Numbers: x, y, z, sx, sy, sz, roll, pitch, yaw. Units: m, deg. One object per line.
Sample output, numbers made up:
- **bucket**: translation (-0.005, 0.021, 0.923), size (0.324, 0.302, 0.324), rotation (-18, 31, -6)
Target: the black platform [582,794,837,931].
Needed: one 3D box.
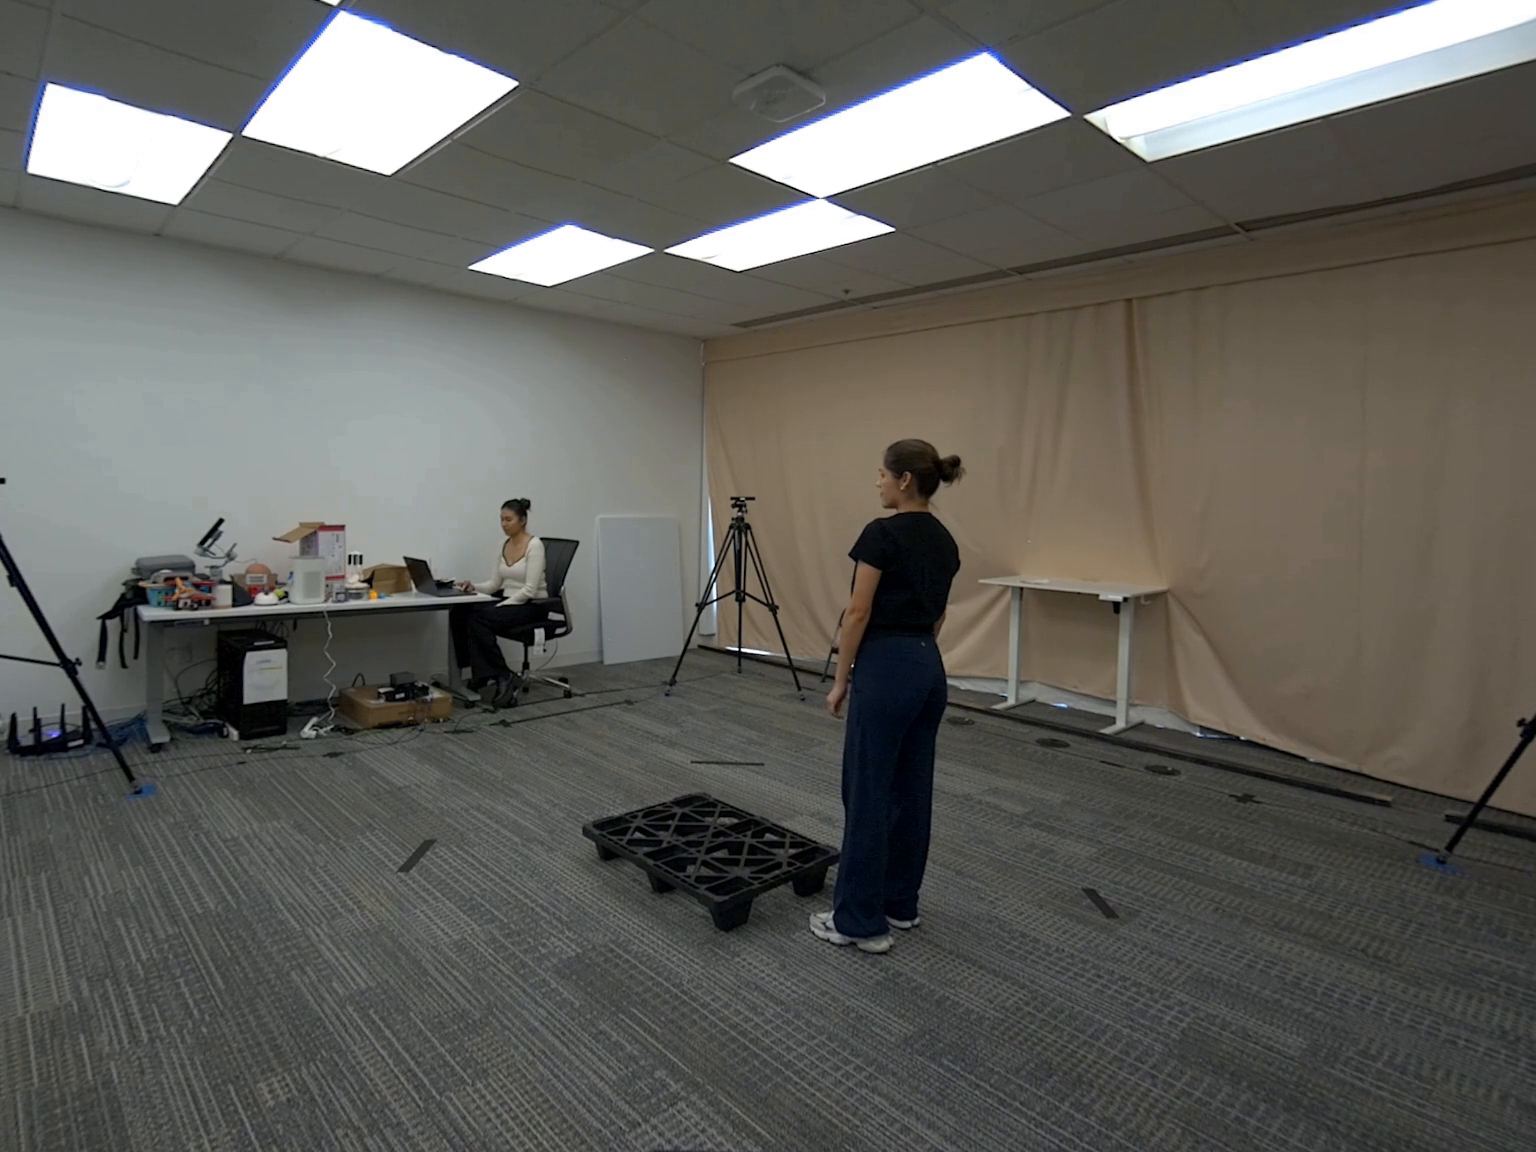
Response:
- **black platform**: translation (-0.230, 1.042, 3.115), size (0.591, 0.143, 0.826), rotation (-3, 7, -43)
